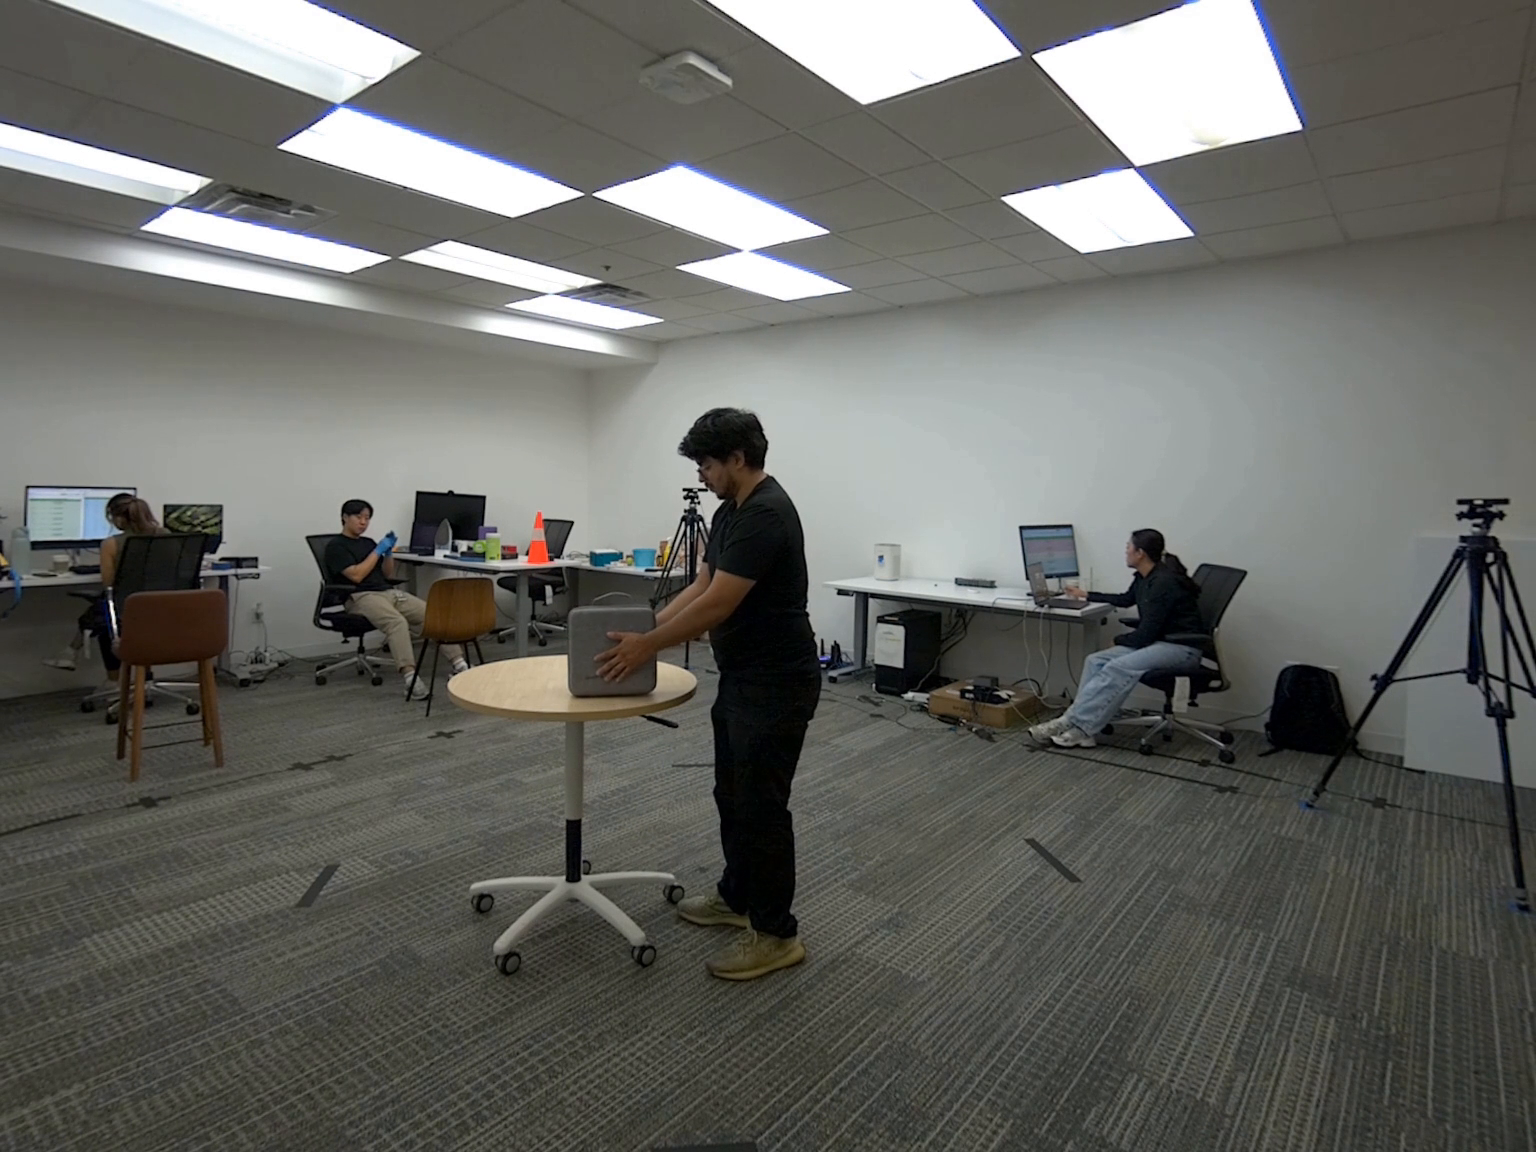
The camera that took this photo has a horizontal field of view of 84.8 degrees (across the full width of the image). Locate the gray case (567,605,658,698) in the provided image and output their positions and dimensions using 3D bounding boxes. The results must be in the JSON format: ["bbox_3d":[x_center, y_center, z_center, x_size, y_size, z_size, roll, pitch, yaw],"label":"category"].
[{"bbox_3d":[-0.475,0.211,2.513,0.255,0.261,0.105,-1,-3,-8],"label":"gray case"}]
